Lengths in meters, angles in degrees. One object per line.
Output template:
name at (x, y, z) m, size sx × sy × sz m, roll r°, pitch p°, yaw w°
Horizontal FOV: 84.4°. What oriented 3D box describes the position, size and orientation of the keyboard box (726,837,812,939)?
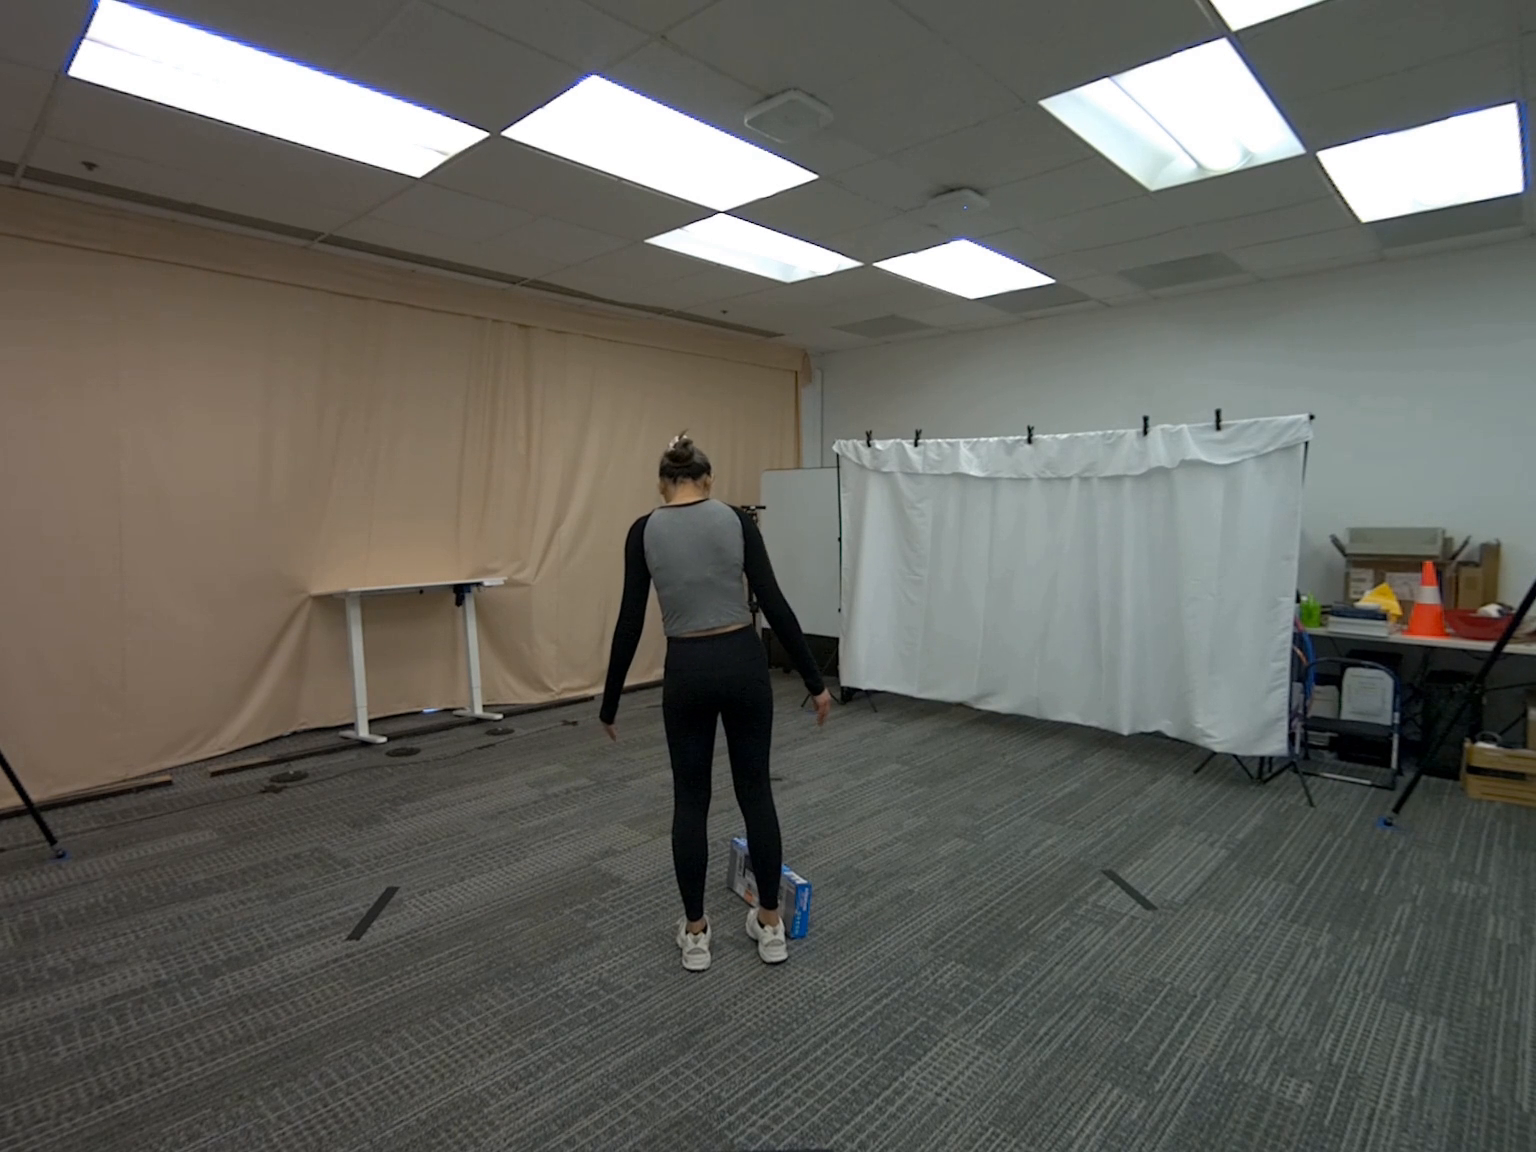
keyboard box at (-0.002, 1.066, 2.898) m, size 0.057 × 0.176 × 0.450 m, roll 6°, pitch 0°, yaw -31°
